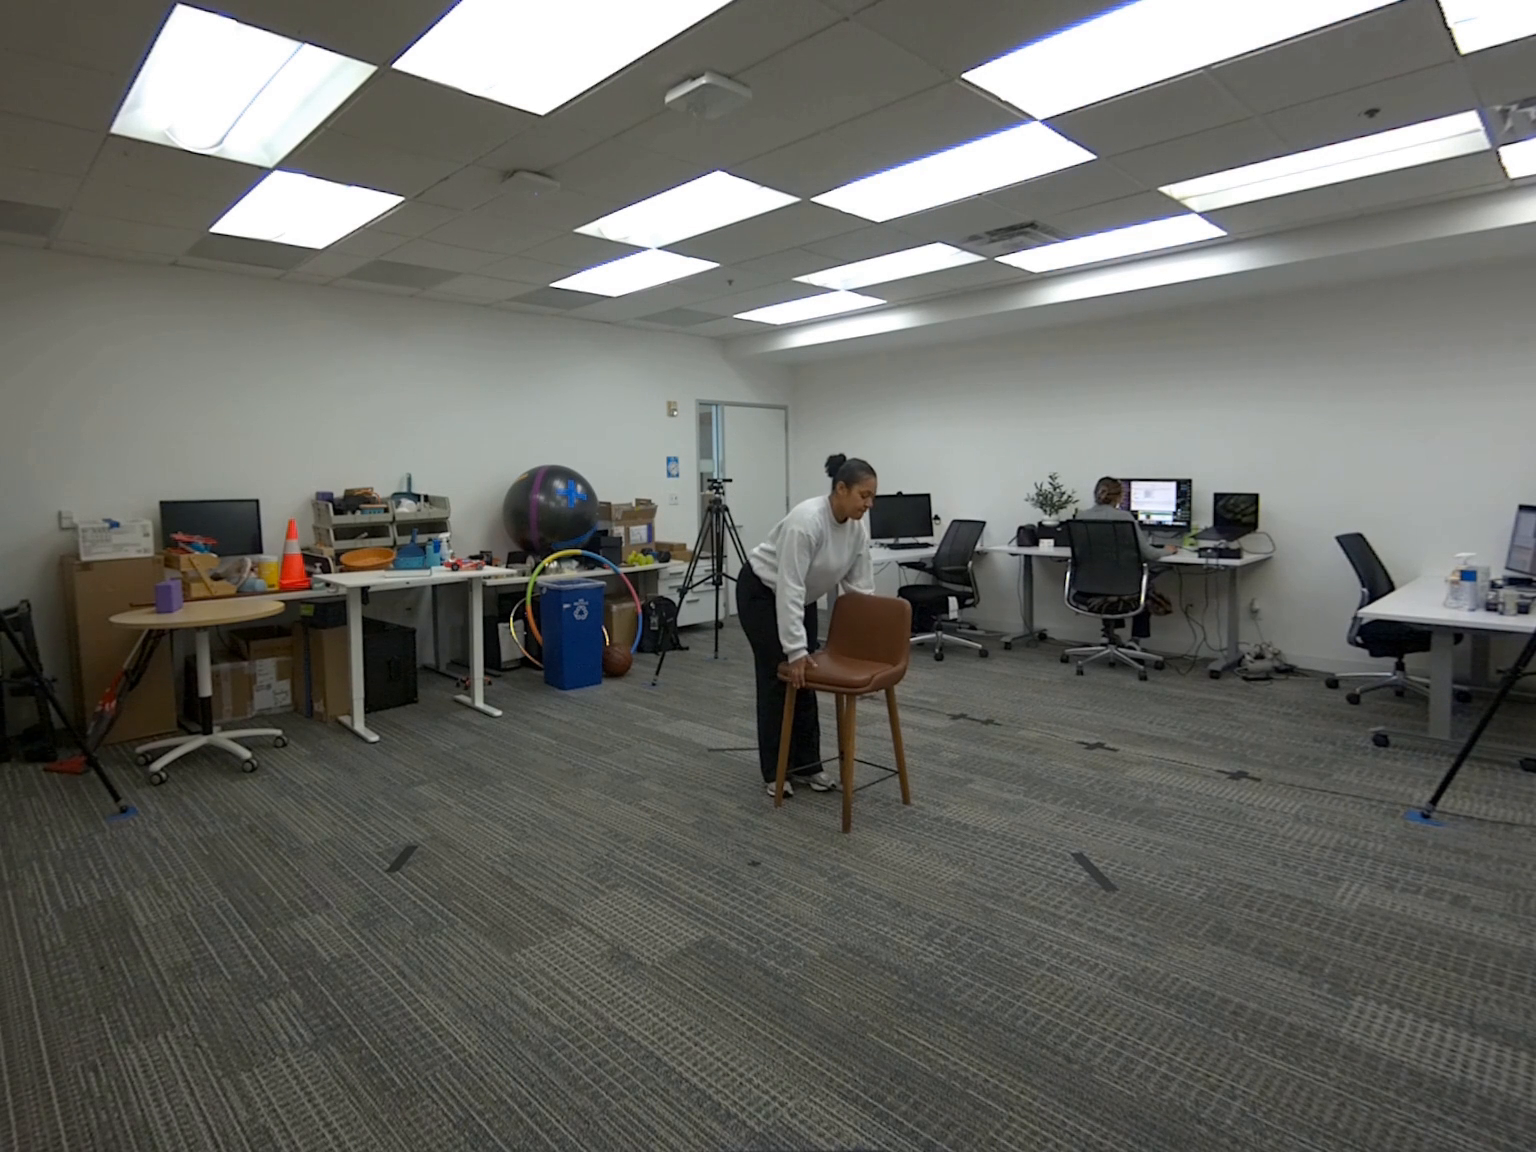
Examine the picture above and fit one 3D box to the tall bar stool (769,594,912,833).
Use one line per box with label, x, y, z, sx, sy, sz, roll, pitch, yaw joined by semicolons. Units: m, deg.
tall bar stool;0.327;0.544;3.623;0.454;0.888;0.471;-2;4;-44
